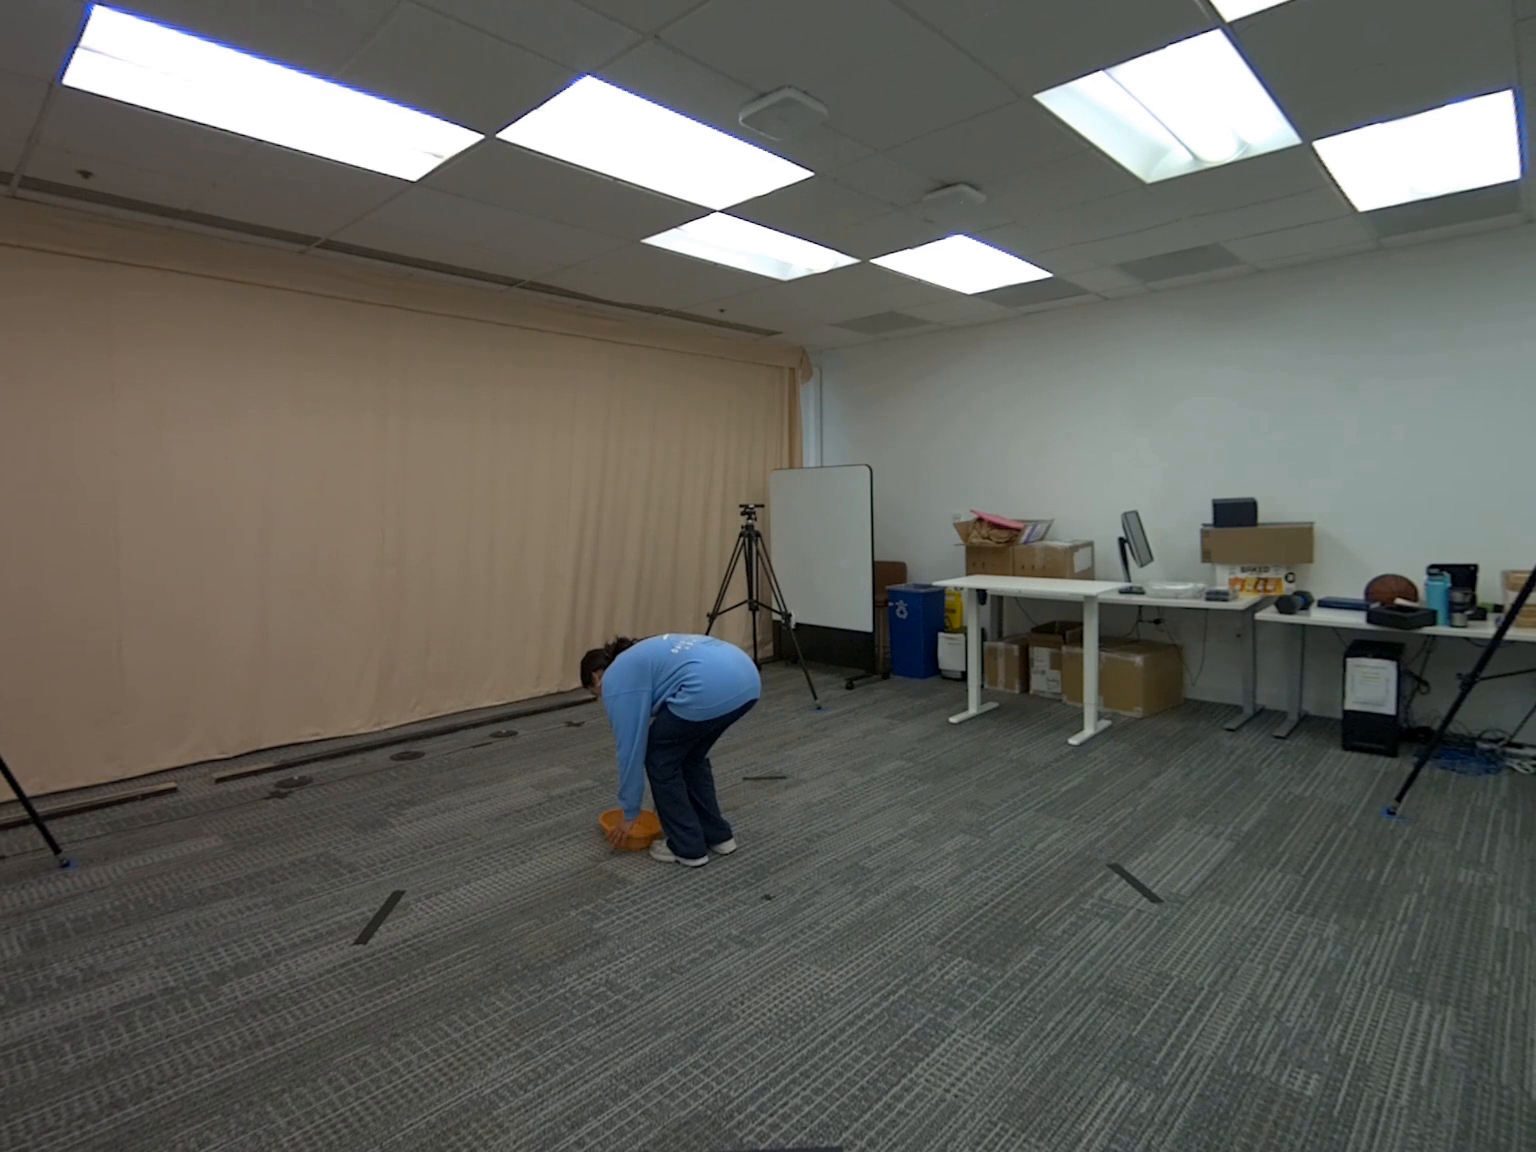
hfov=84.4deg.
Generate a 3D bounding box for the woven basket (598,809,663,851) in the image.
[{"bbox_3d":[-0.566,1.059,3.548,0.247,0.073,0.359,-2,5,-24],"label":"woven basket"}]
